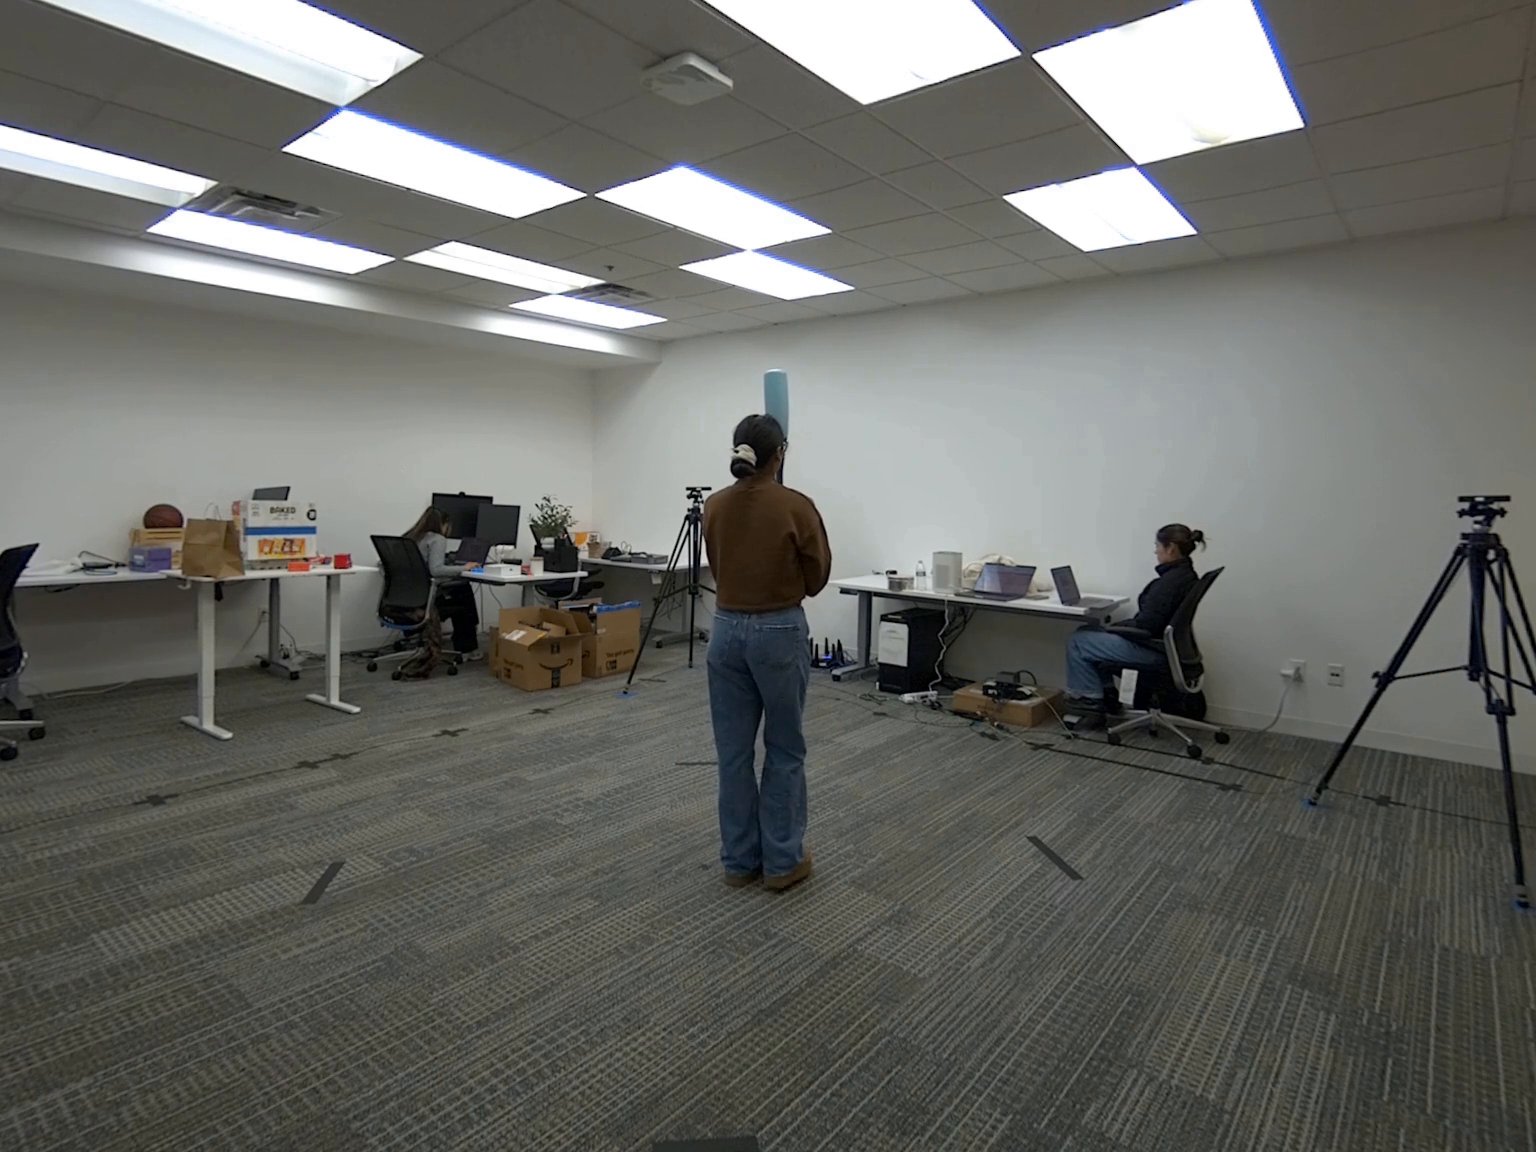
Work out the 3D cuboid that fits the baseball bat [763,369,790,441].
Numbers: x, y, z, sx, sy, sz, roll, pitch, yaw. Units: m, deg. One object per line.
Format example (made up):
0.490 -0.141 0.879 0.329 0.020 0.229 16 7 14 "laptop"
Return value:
0.031 -0.489 3.128 0.089 0.542 0.089 -2 2 -2 "baseball bat"
